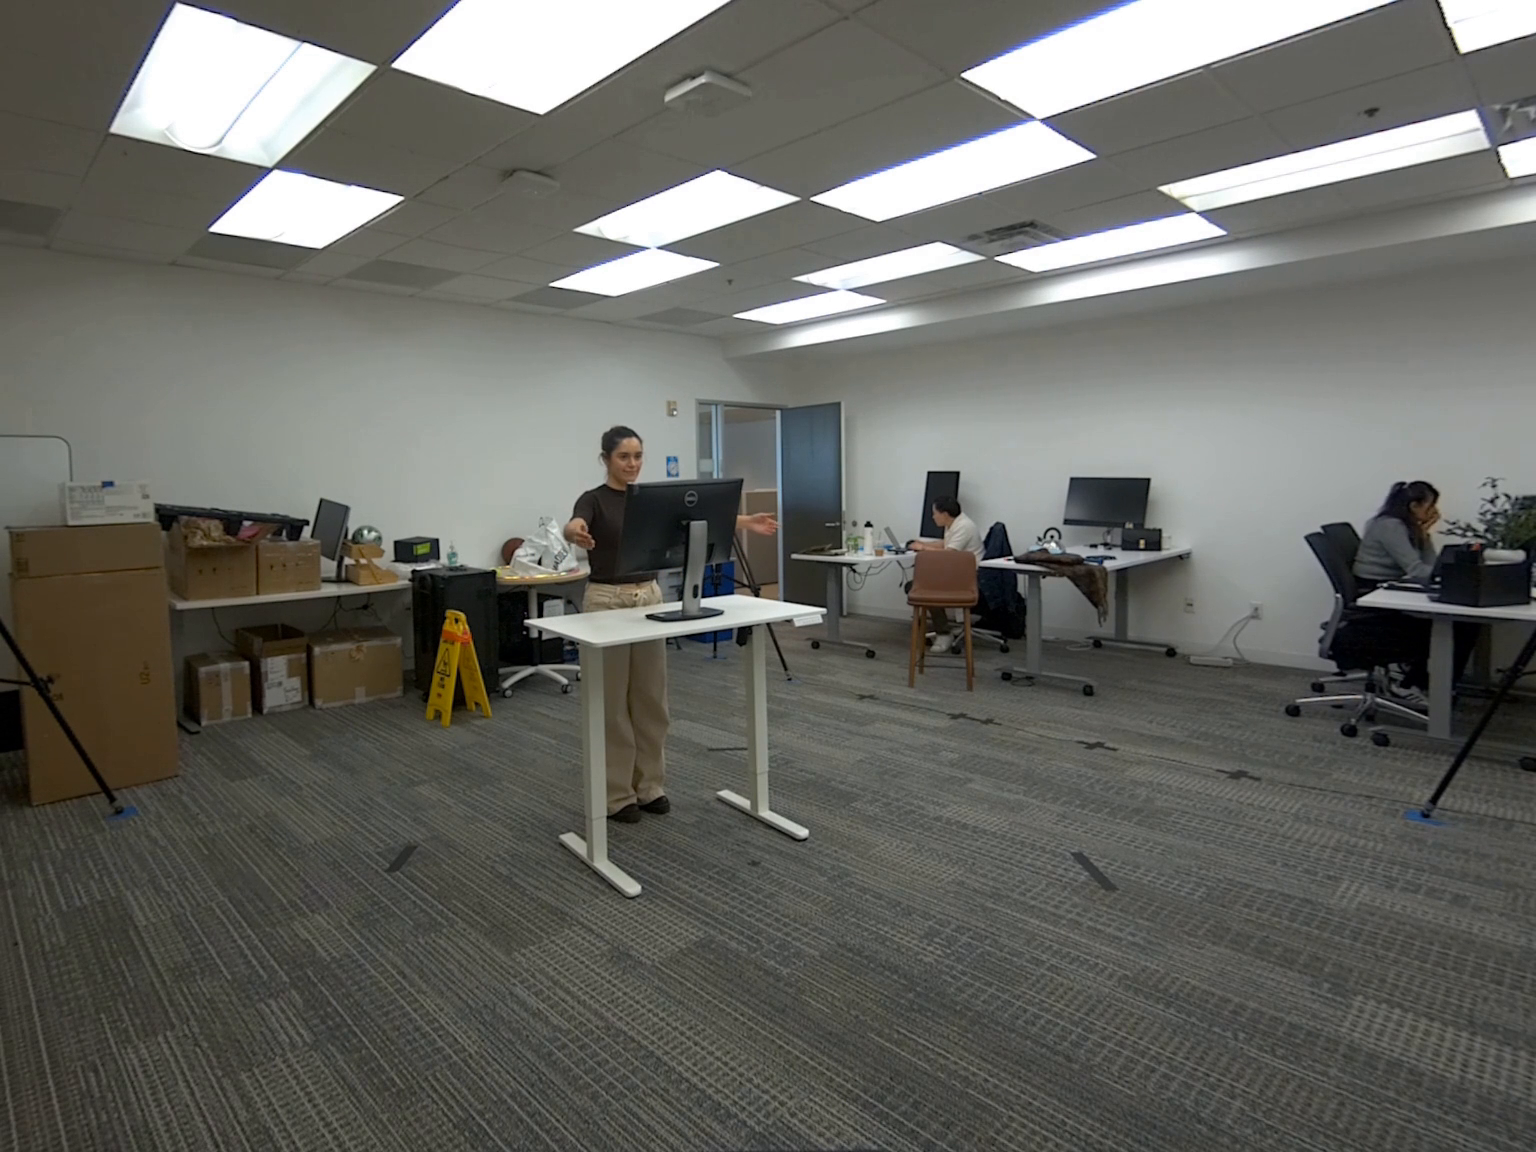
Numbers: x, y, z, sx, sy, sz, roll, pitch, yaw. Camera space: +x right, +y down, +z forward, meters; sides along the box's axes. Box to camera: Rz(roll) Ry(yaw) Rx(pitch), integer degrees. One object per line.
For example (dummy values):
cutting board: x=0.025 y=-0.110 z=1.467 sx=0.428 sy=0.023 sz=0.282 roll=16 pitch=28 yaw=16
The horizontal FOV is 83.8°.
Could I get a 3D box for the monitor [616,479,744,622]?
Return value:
monitor: x=-0.304 y=-0.100 z=3.208 sx=0.525 sy=0.519 sz=0.193 roll=-8 pitch=11 yaw=-43
